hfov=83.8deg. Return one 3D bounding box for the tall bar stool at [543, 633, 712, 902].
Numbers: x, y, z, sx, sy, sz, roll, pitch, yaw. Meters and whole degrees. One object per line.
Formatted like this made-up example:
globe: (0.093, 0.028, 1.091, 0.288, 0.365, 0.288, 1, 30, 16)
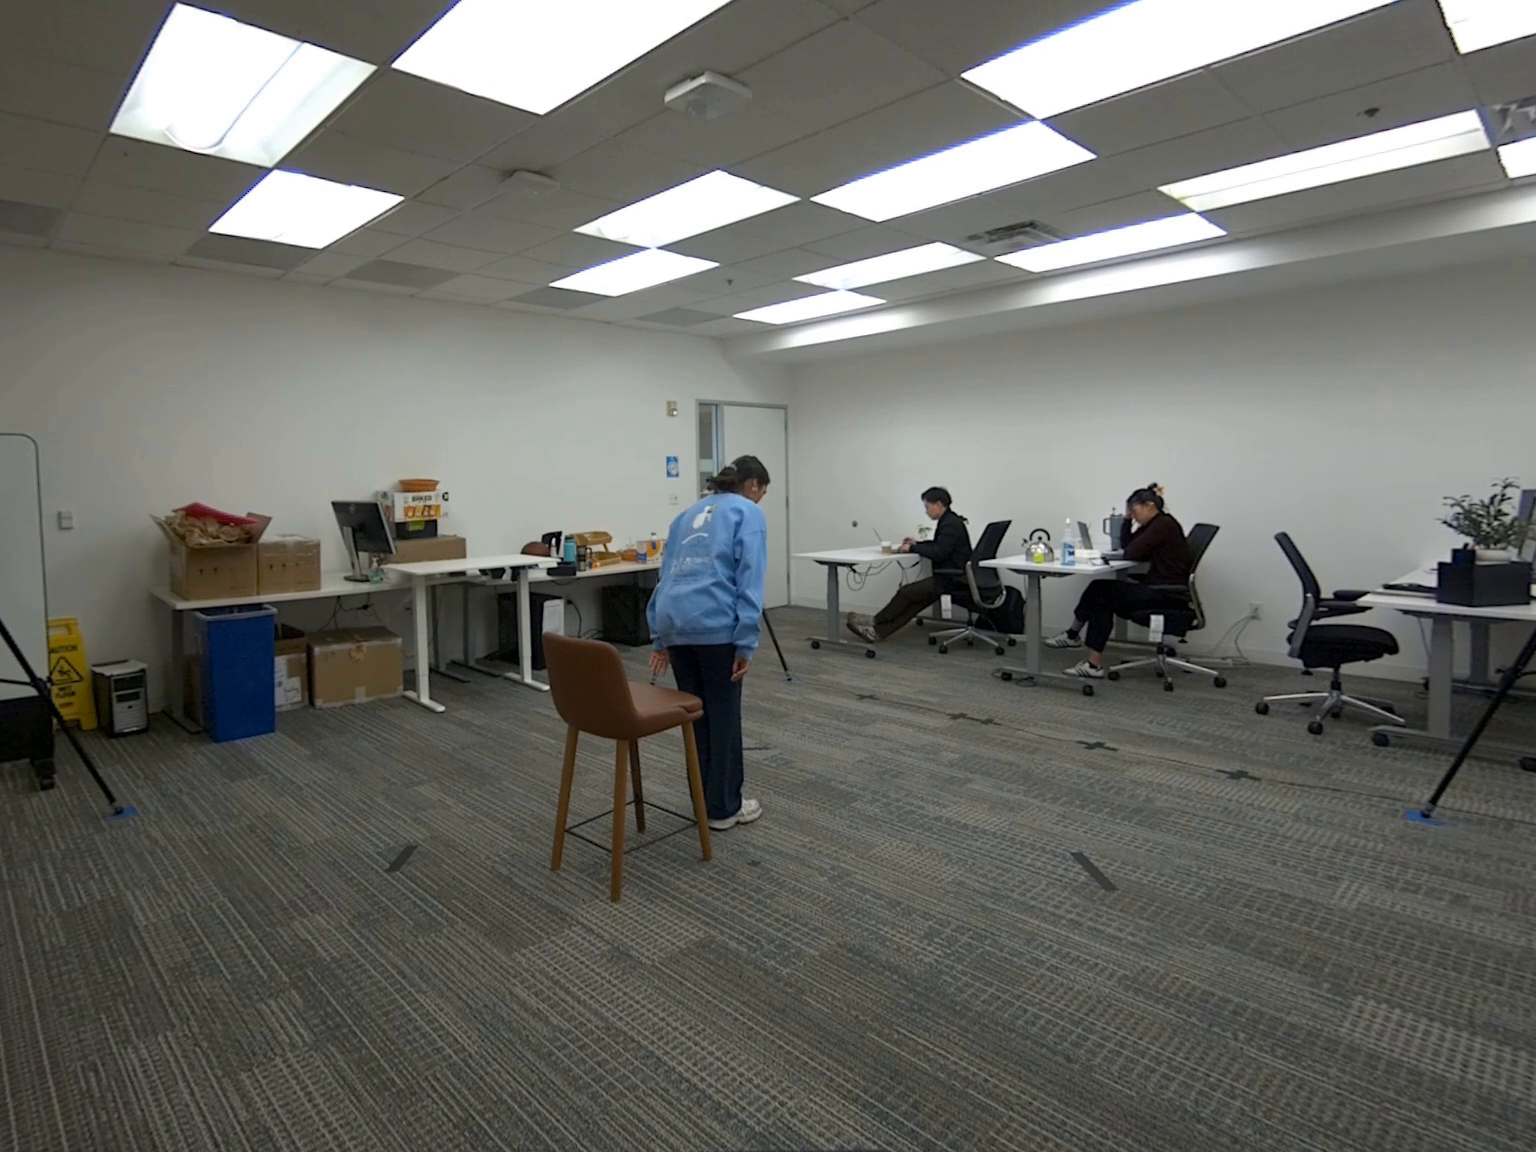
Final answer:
tall bar stool: (-0.516, 0.615, 3.094, 0.470, 0.885, 0.456, 3, 7, 43)
